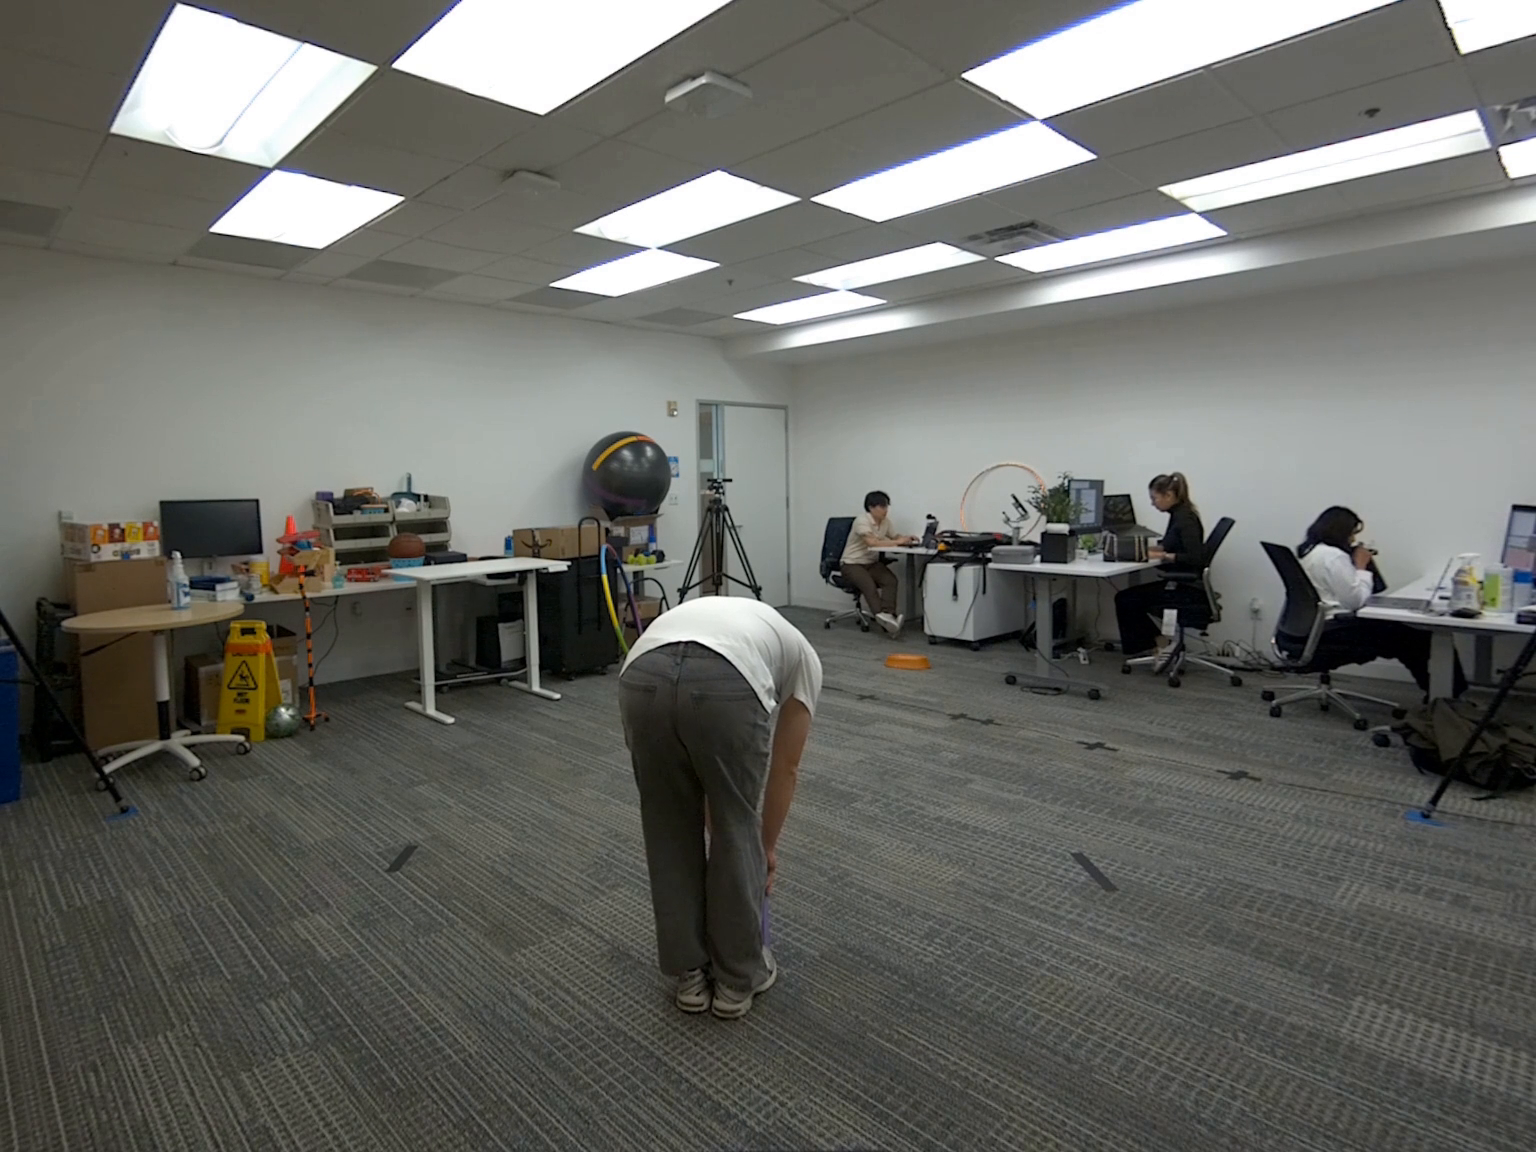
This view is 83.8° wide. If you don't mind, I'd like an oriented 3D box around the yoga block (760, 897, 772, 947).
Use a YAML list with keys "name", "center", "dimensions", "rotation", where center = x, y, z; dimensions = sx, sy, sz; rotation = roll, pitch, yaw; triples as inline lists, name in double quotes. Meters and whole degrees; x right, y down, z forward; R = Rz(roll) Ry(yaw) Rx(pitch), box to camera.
- name: "yoga block"
  center: [-0.060, 1.009, 2.546]
  dimensions: [0.150, 0.228, 0.076]
  rotation: [1, 4, 10]
